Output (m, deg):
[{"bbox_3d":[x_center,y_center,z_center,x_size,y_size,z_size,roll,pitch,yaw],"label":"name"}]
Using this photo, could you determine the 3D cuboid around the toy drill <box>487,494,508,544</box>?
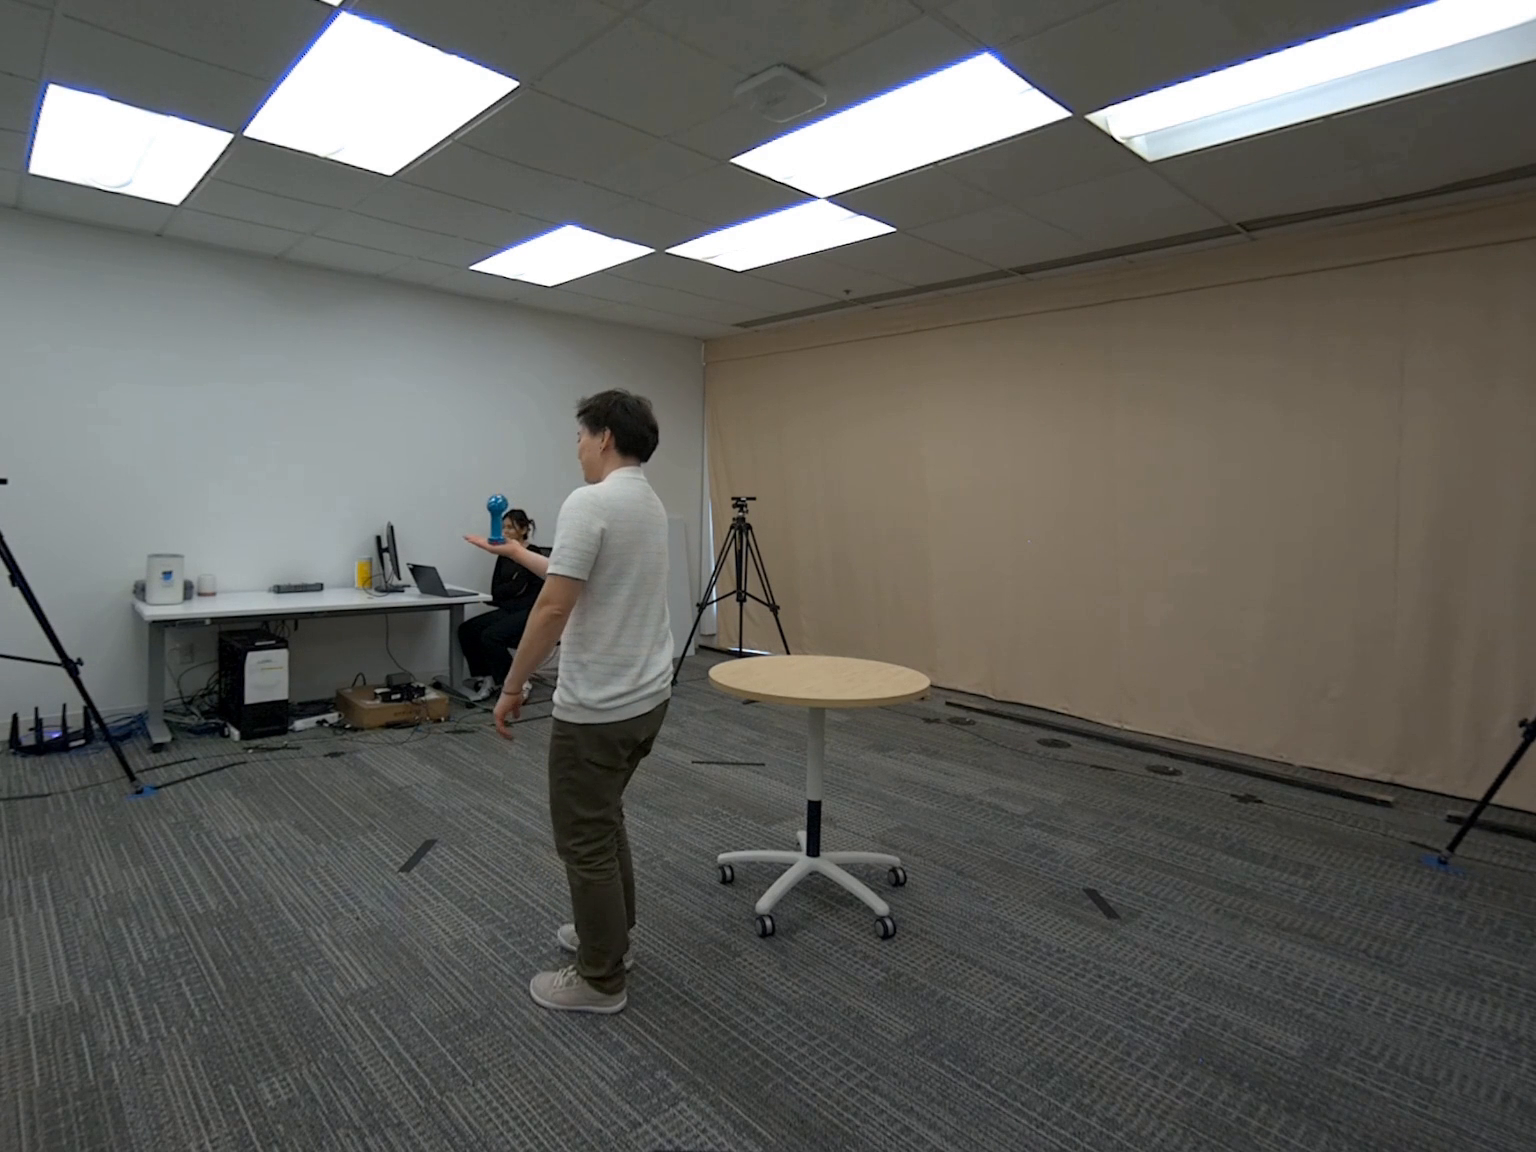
[{"bbox_3d":[-0.805,-0.174,2.511,0.061,0.145,0.172,1,11,-9],"label":"toy drill"}]
